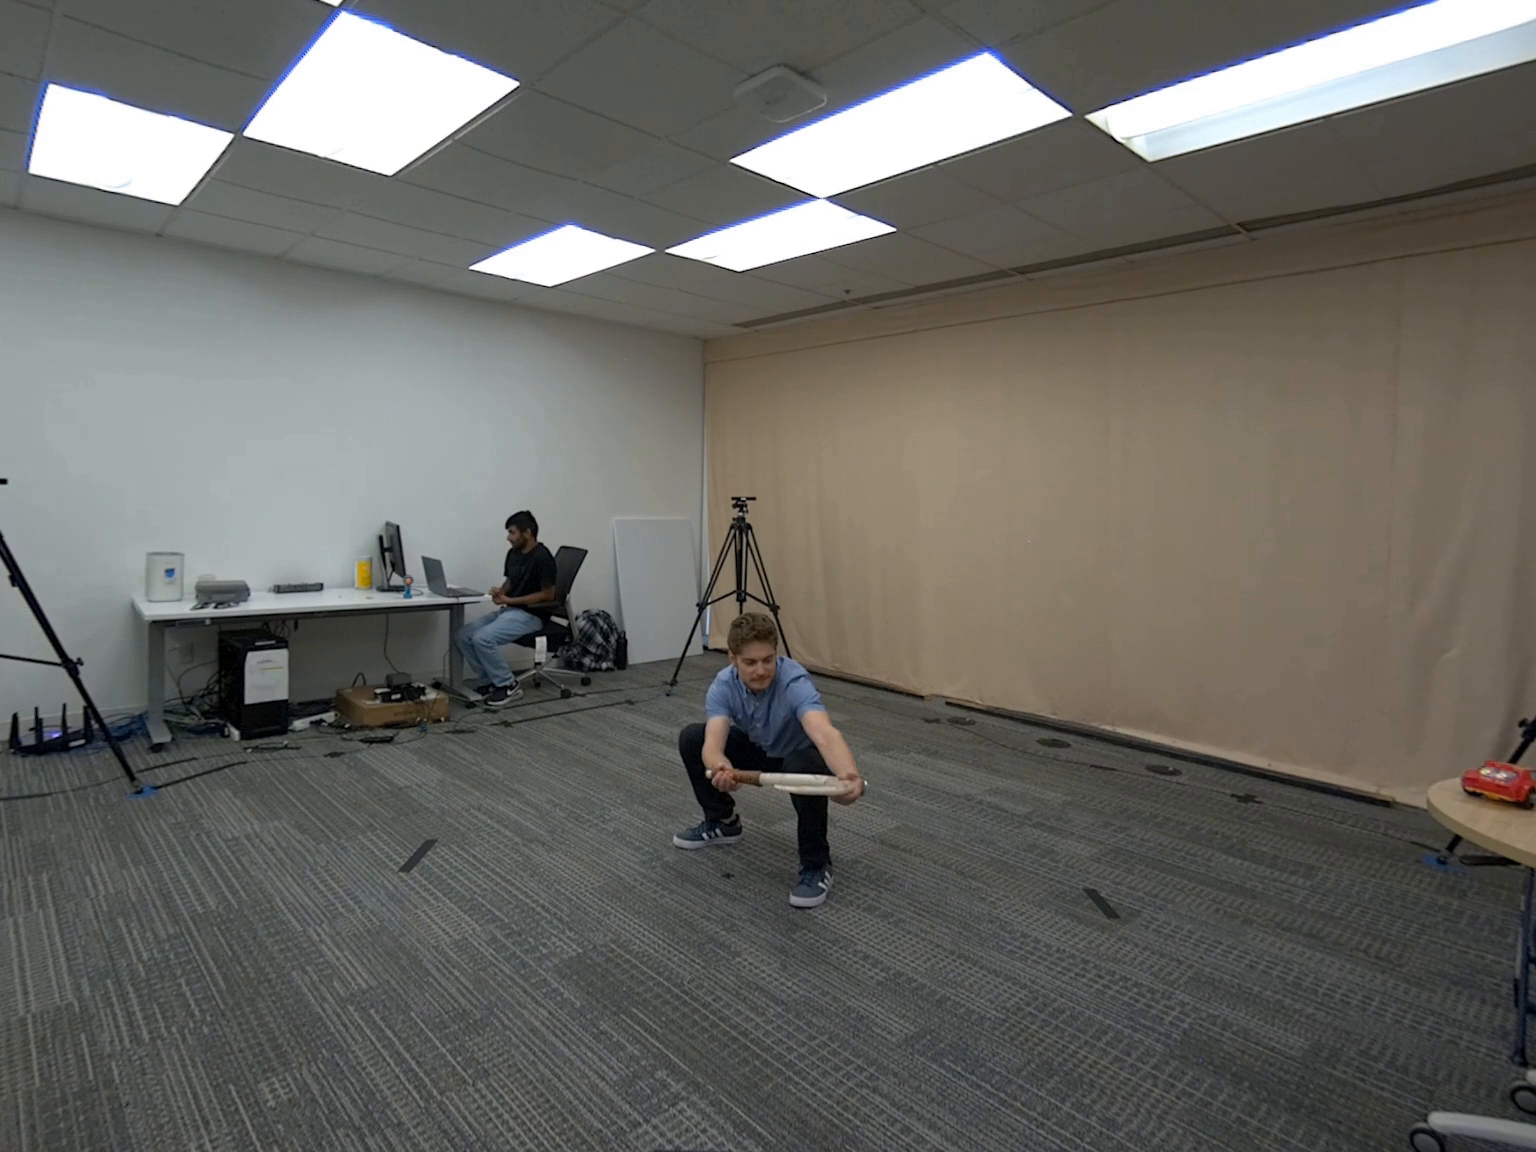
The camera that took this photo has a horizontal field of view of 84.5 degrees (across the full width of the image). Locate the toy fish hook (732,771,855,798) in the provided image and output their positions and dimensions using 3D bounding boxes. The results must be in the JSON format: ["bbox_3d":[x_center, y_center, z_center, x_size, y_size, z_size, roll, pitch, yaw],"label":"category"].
[{"bbox_3d":[-0.006,0.618,2.493,0.515,0.048,0.219,-3,-10,26],"label":"toy fish hook"}]
